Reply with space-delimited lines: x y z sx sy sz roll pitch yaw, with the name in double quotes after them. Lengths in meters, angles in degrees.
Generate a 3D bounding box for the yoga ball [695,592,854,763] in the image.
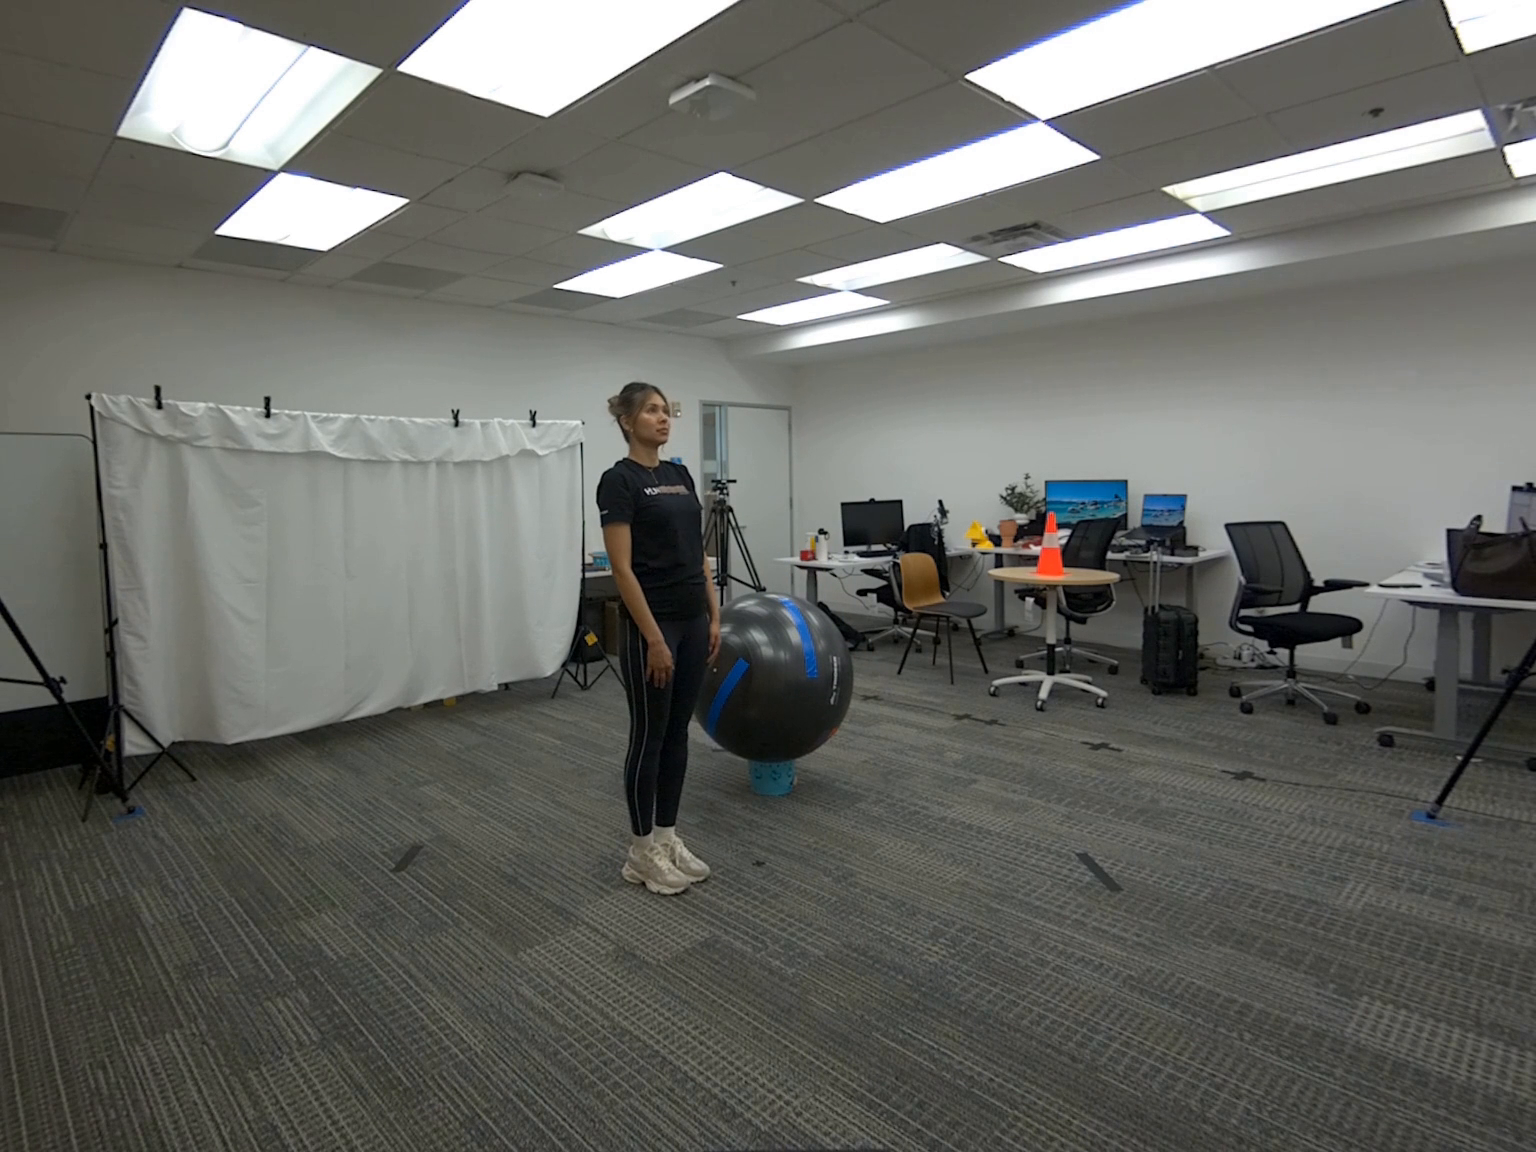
0.004 0.456 3.855 0.757 0.755 0.762 -1 5 -2 "yoga ball"
